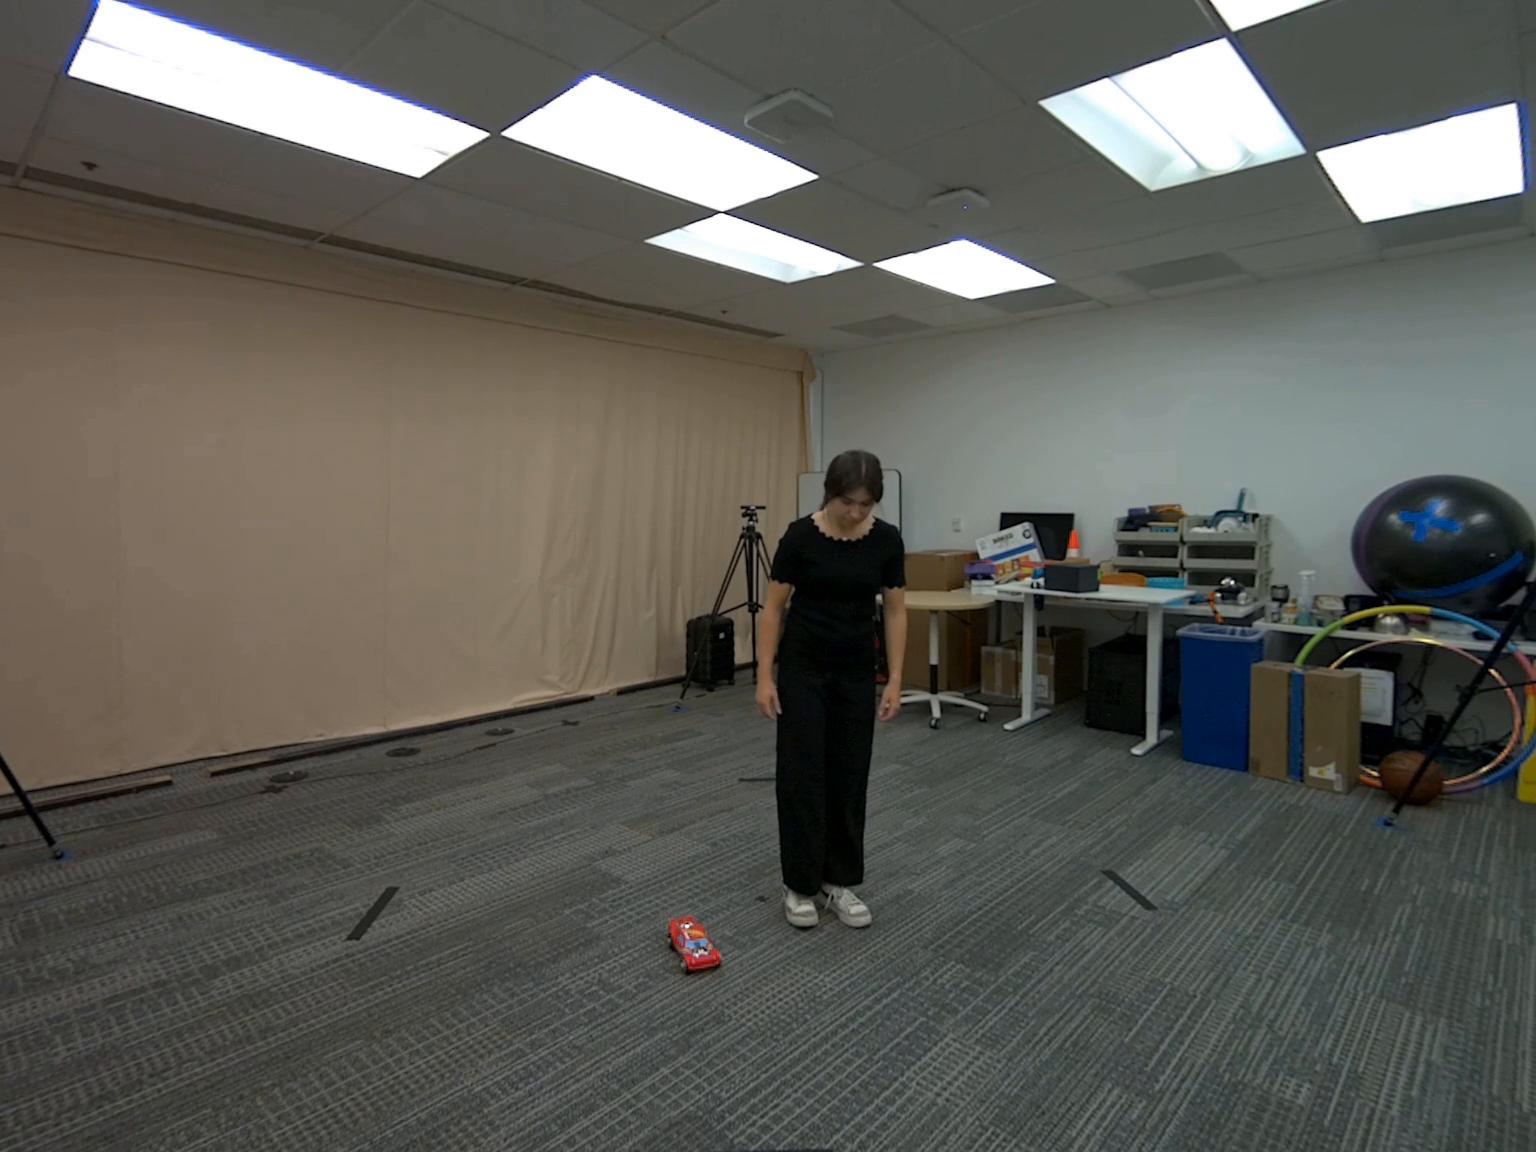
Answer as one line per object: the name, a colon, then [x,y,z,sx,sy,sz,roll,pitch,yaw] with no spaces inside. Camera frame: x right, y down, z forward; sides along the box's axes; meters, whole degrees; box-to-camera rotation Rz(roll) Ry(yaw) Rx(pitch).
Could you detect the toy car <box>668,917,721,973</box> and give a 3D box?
toy car: [-0.237,1.145,2.612,0.128,0.082,0.262,-2,16,-21]
